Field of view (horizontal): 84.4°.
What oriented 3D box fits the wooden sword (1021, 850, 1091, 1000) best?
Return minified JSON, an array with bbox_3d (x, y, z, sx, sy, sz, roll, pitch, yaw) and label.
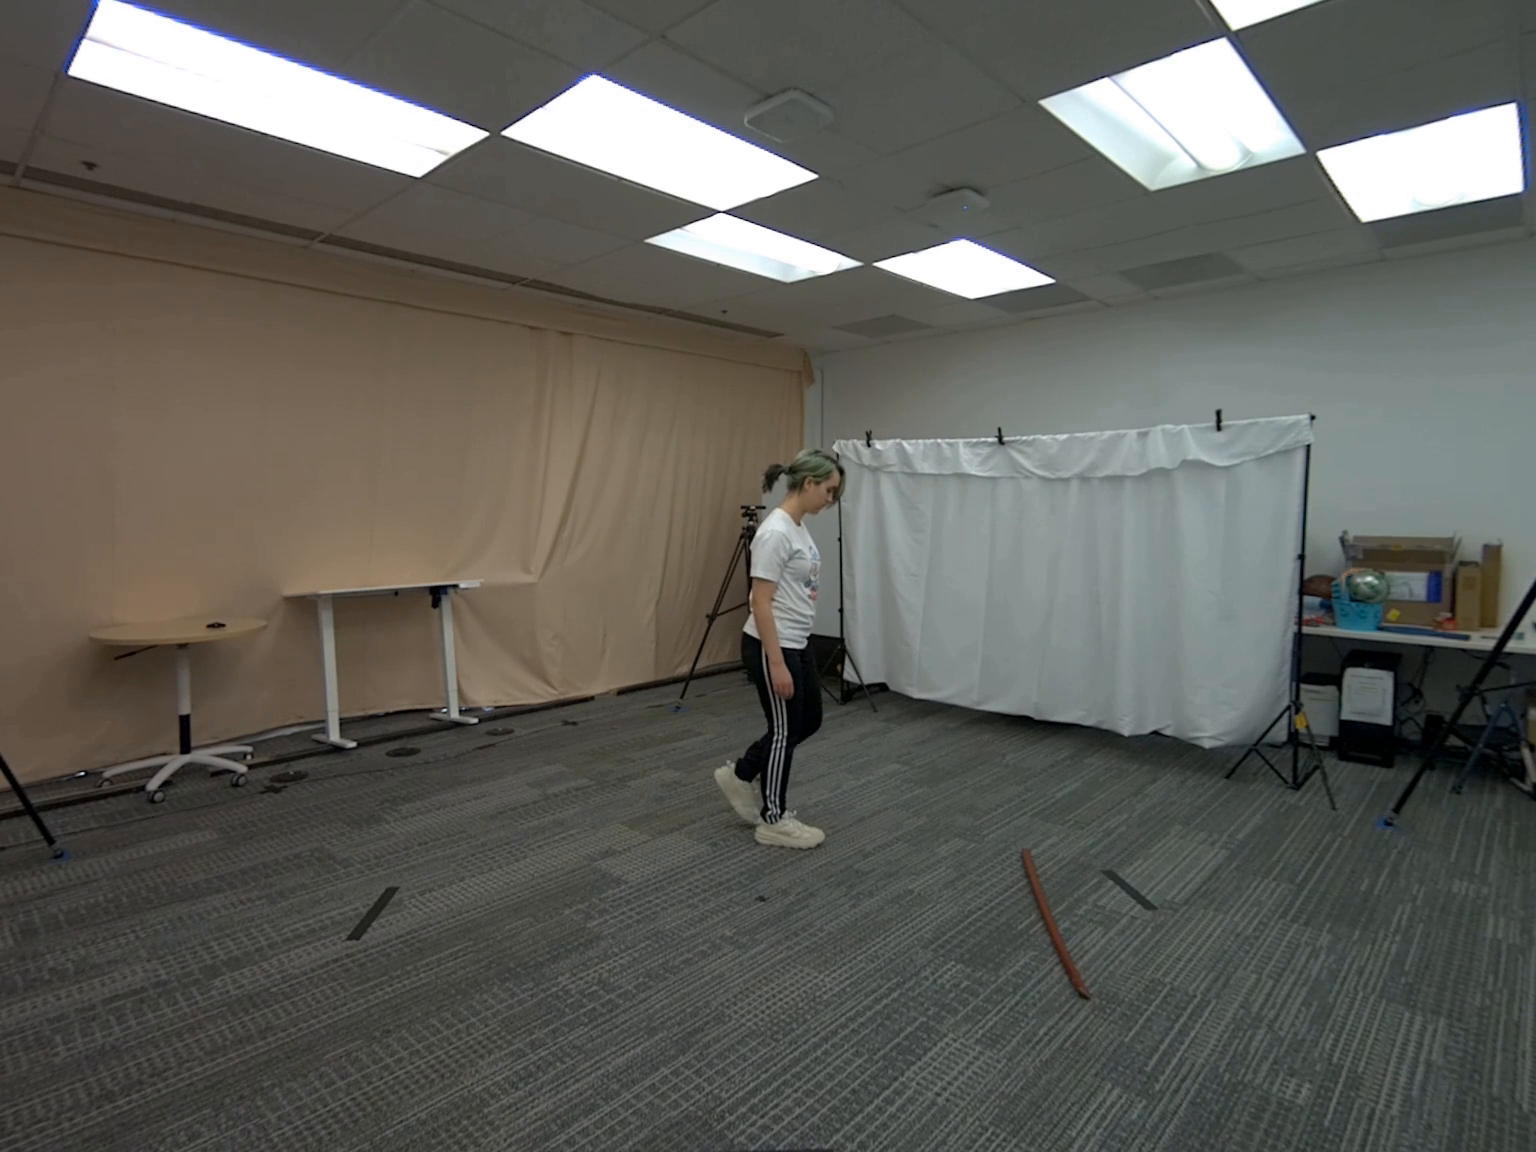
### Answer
[{"bbox_3d":[0.942,1.126,2.877,0.024,0.051,1.017,10,6,6],"label":"wooden sword"}]
